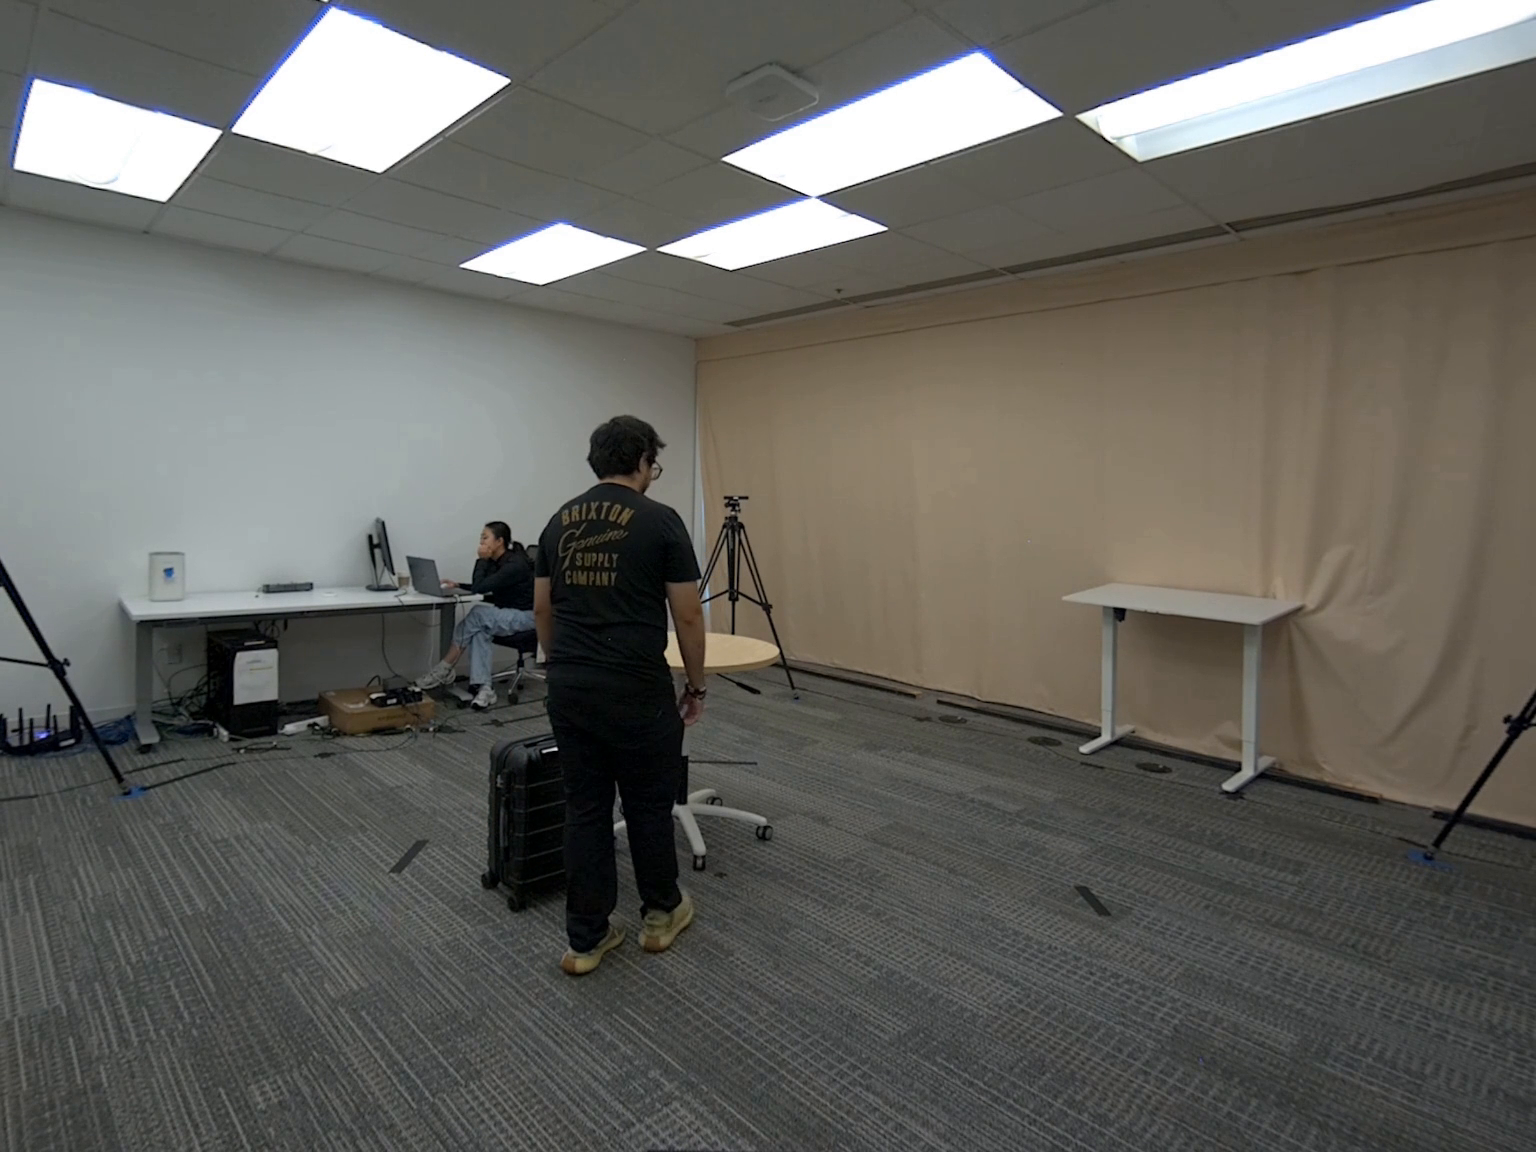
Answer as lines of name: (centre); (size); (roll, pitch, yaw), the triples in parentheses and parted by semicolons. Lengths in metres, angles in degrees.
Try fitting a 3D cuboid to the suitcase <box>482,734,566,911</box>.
suitcase: (-0.800, 0.827, 2.959); (0.367, 0.547, 0.255); (-3, 7, -43)
